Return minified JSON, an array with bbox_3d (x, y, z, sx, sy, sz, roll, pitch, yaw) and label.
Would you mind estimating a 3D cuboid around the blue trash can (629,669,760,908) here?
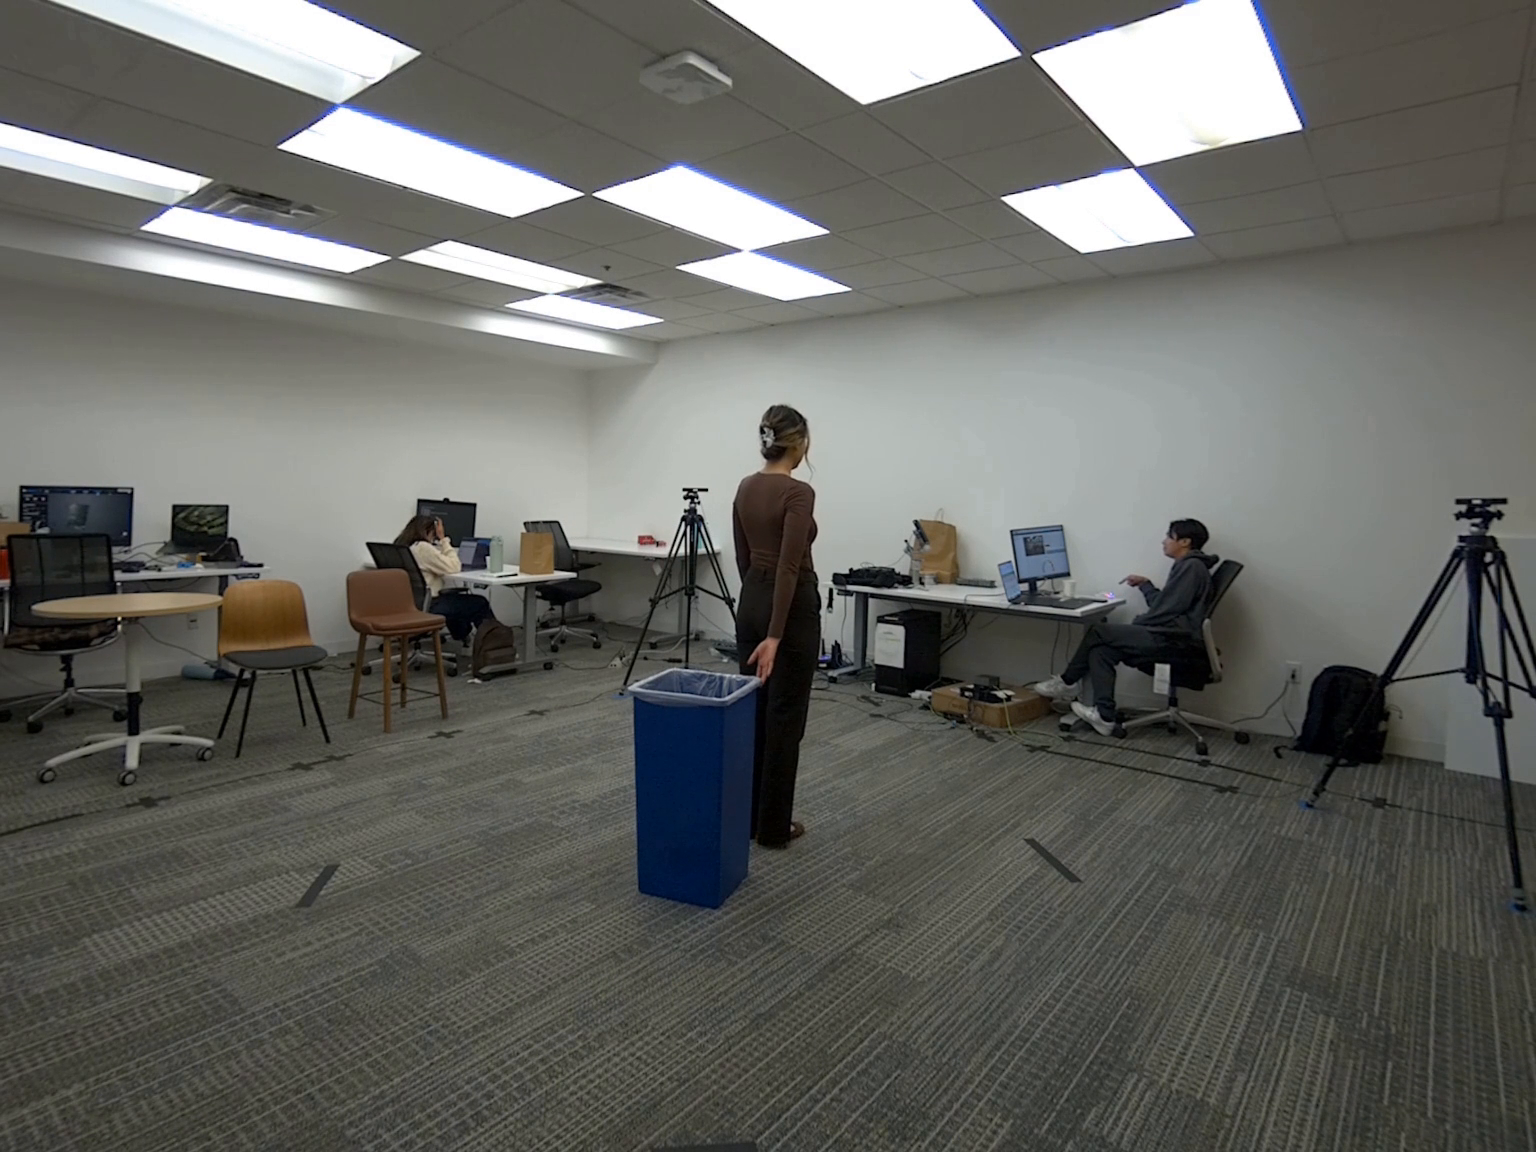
[{"bbox_3d":[-0.261,0.721,2.986,0.382,0.712,0.371,1,3,20],"label":"blue trash can"}]
